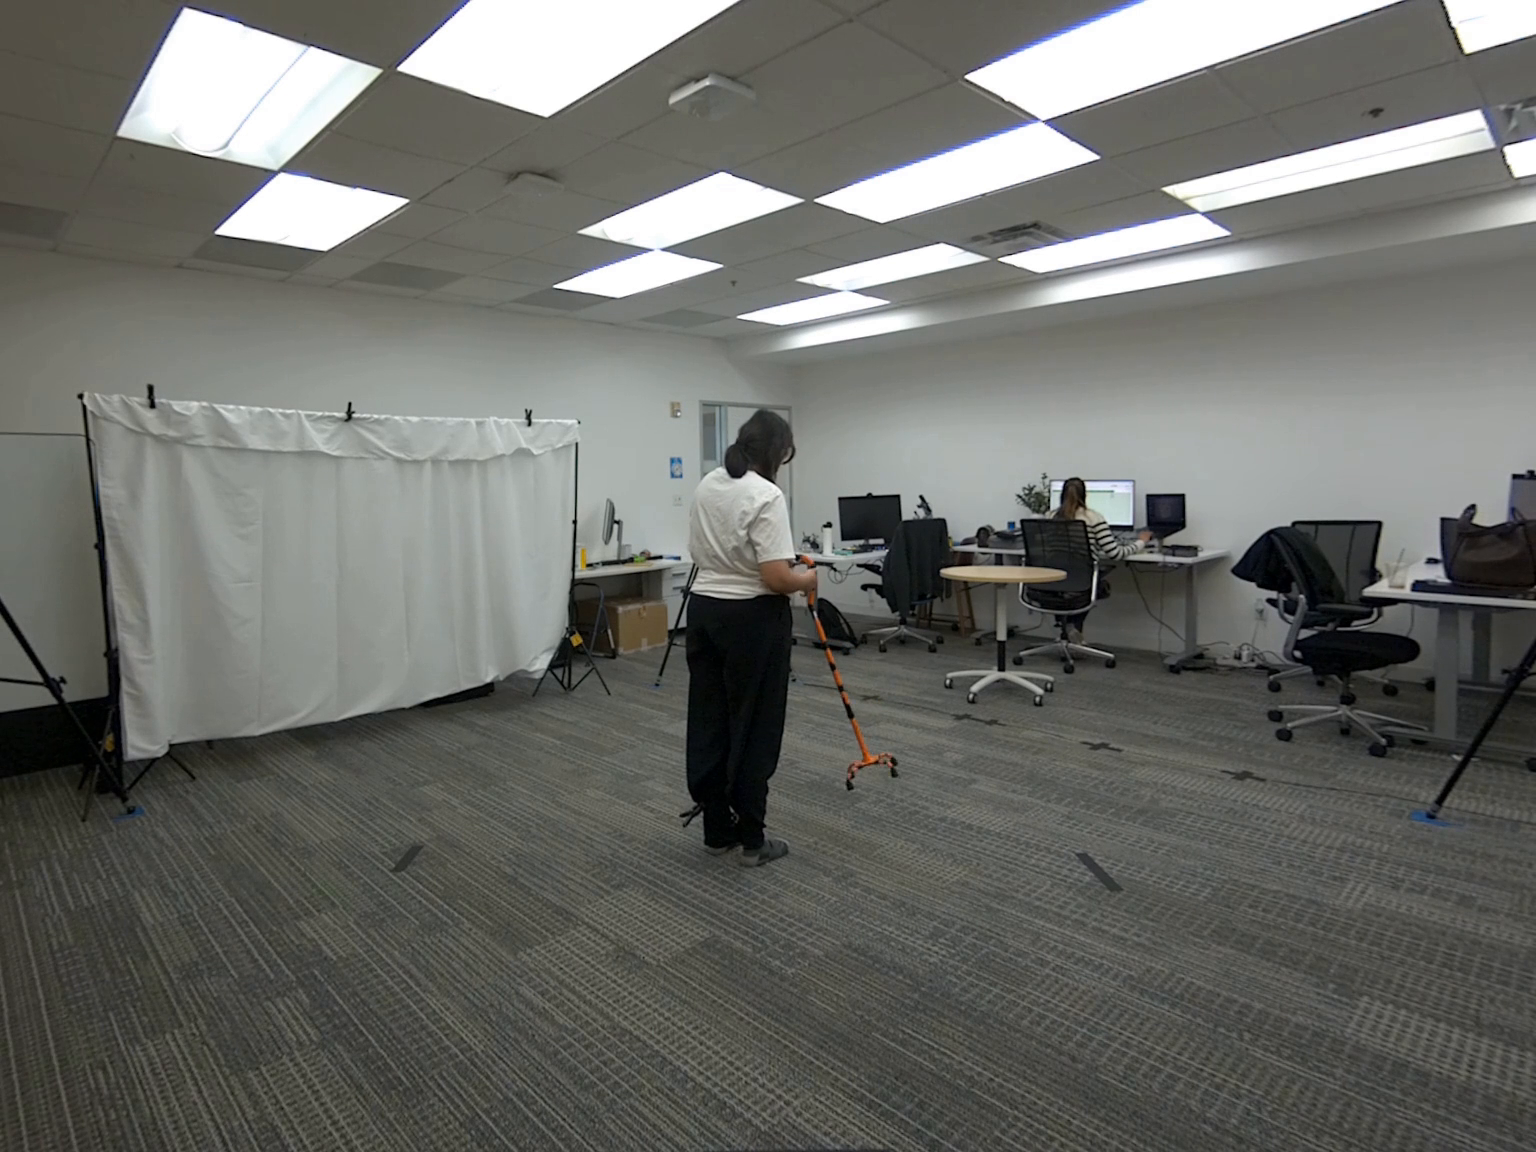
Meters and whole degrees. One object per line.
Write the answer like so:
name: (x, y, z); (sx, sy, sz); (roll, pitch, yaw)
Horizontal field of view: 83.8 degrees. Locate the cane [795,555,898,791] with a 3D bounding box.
cane: (0.255, 0.343, 3.286); (0.207, 0.906, 0.151); (-18, 1, 4)
